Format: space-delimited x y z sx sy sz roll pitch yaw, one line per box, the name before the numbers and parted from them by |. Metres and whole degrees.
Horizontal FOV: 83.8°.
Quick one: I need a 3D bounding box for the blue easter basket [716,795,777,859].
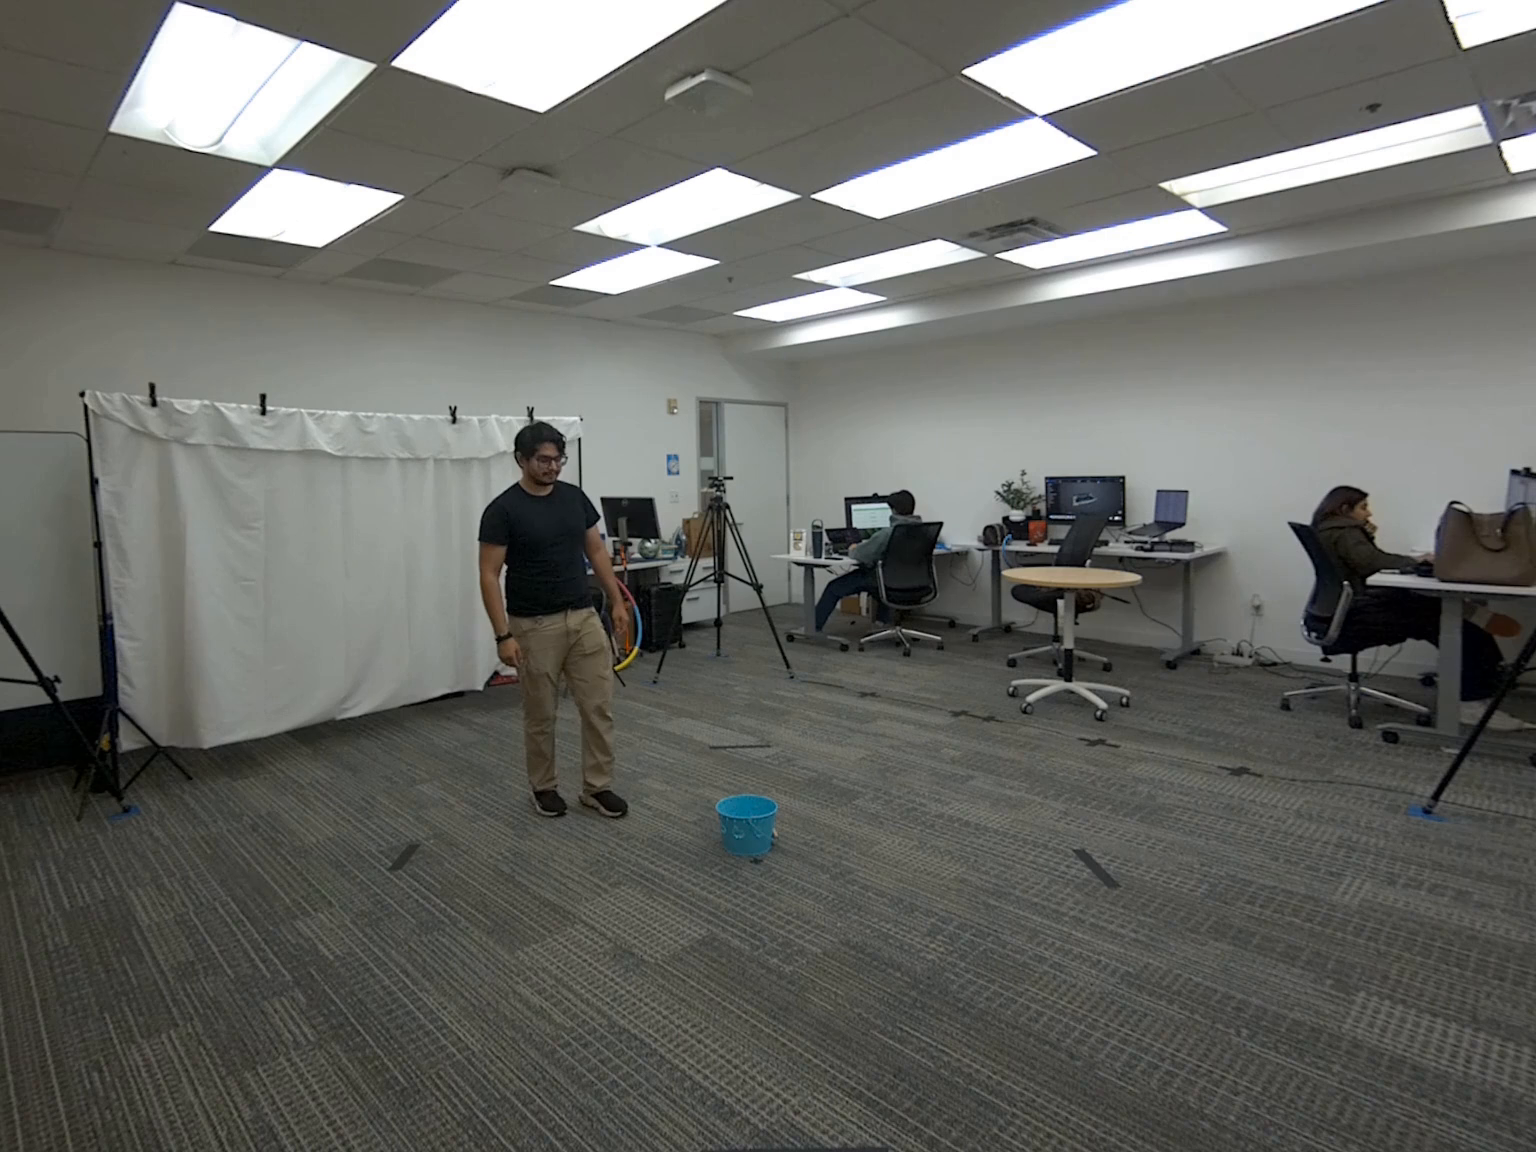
blue easter basket | -0.070 0.942 3.230 0.243 0.155 0.245 -1 6 -2
